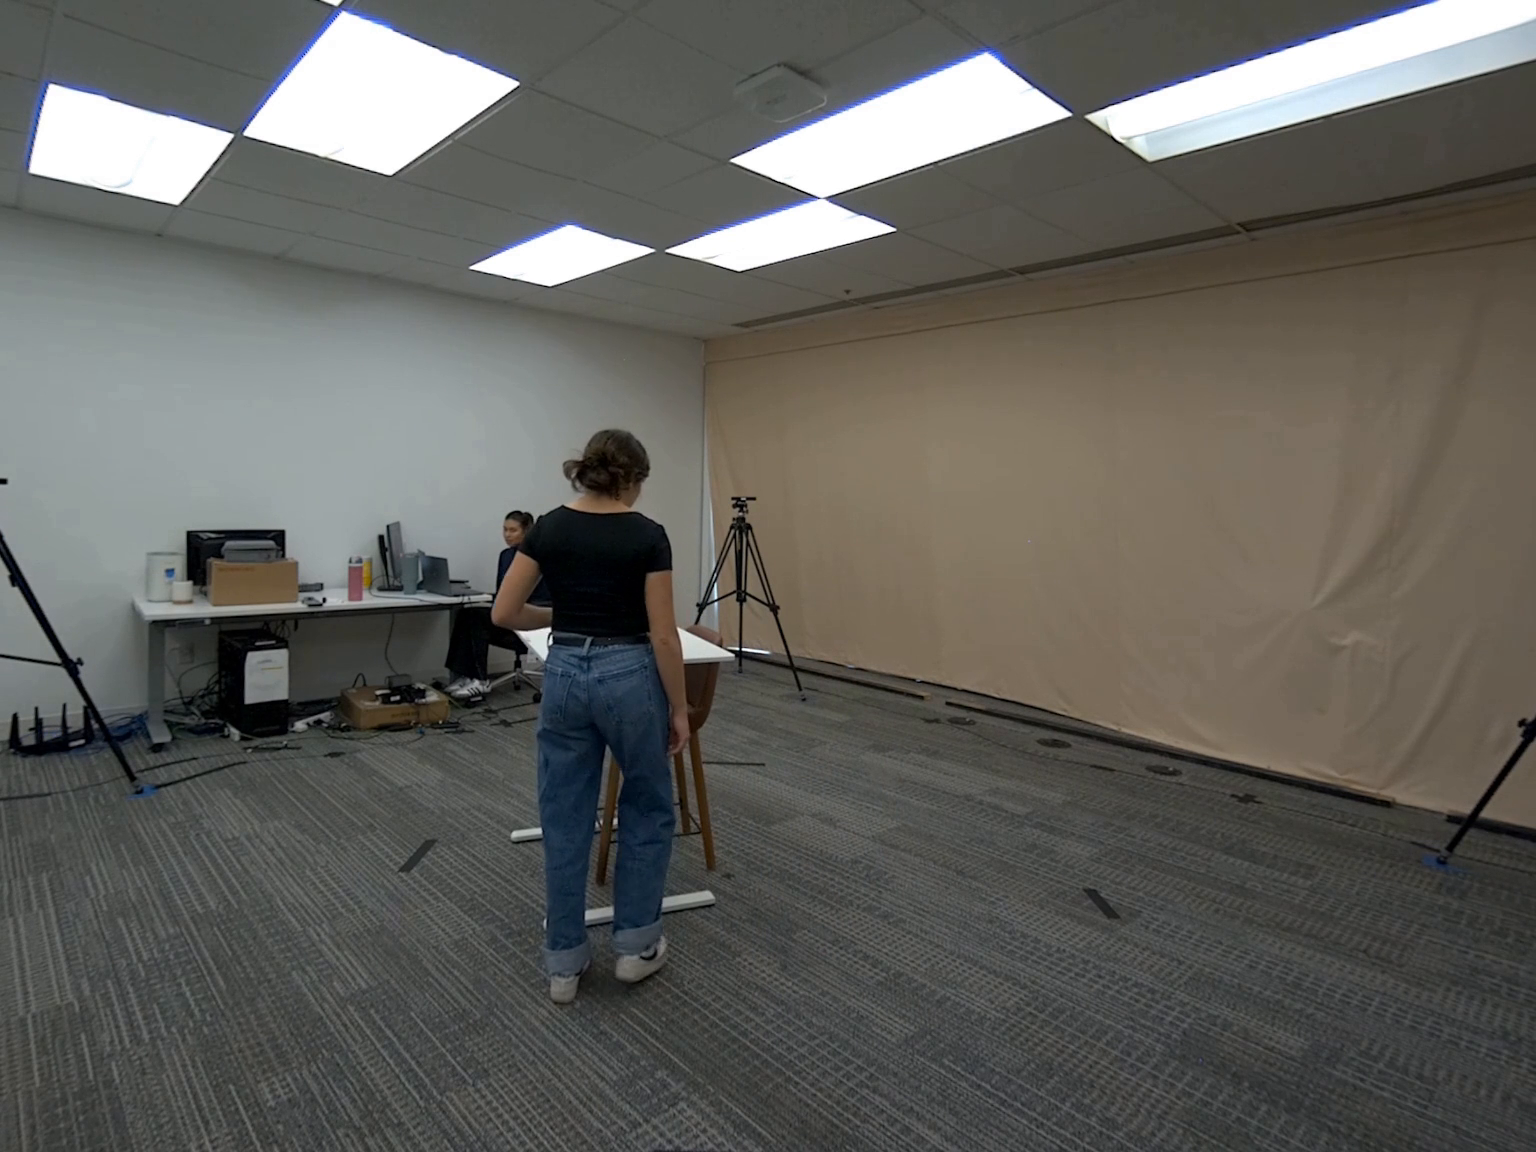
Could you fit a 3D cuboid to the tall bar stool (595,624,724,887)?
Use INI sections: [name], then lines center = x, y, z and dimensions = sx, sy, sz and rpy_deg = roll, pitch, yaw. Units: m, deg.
[tall bar stool]
center = -0.456, 0.664, 3.229
dimensions = 0.460, 0.888, 0.464
rpy_deg = 2, 3, -20
